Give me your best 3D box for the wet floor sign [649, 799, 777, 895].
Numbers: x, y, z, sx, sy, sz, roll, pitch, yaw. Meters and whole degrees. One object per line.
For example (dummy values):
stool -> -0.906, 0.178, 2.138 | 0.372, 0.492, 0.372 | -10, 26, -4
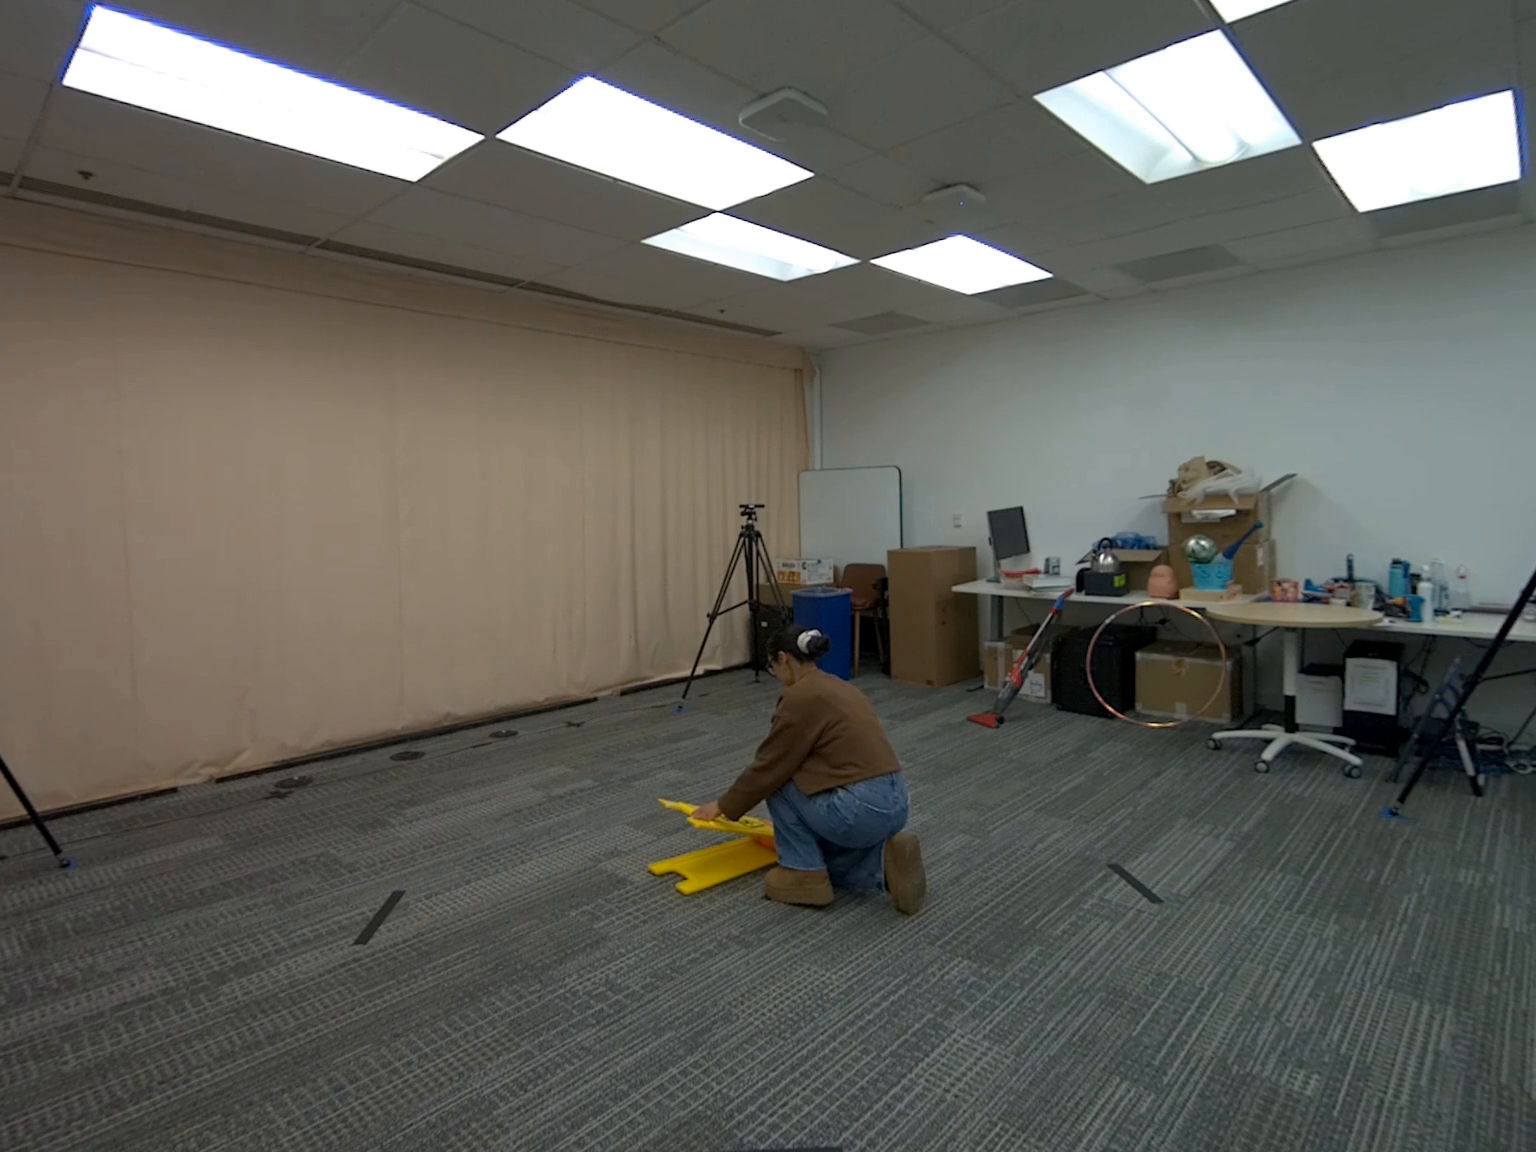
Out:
wet floor sign -> -0.109, 1.036, 3.293 | 0.625, 0.290, 0.291 | 10, -1, -35
